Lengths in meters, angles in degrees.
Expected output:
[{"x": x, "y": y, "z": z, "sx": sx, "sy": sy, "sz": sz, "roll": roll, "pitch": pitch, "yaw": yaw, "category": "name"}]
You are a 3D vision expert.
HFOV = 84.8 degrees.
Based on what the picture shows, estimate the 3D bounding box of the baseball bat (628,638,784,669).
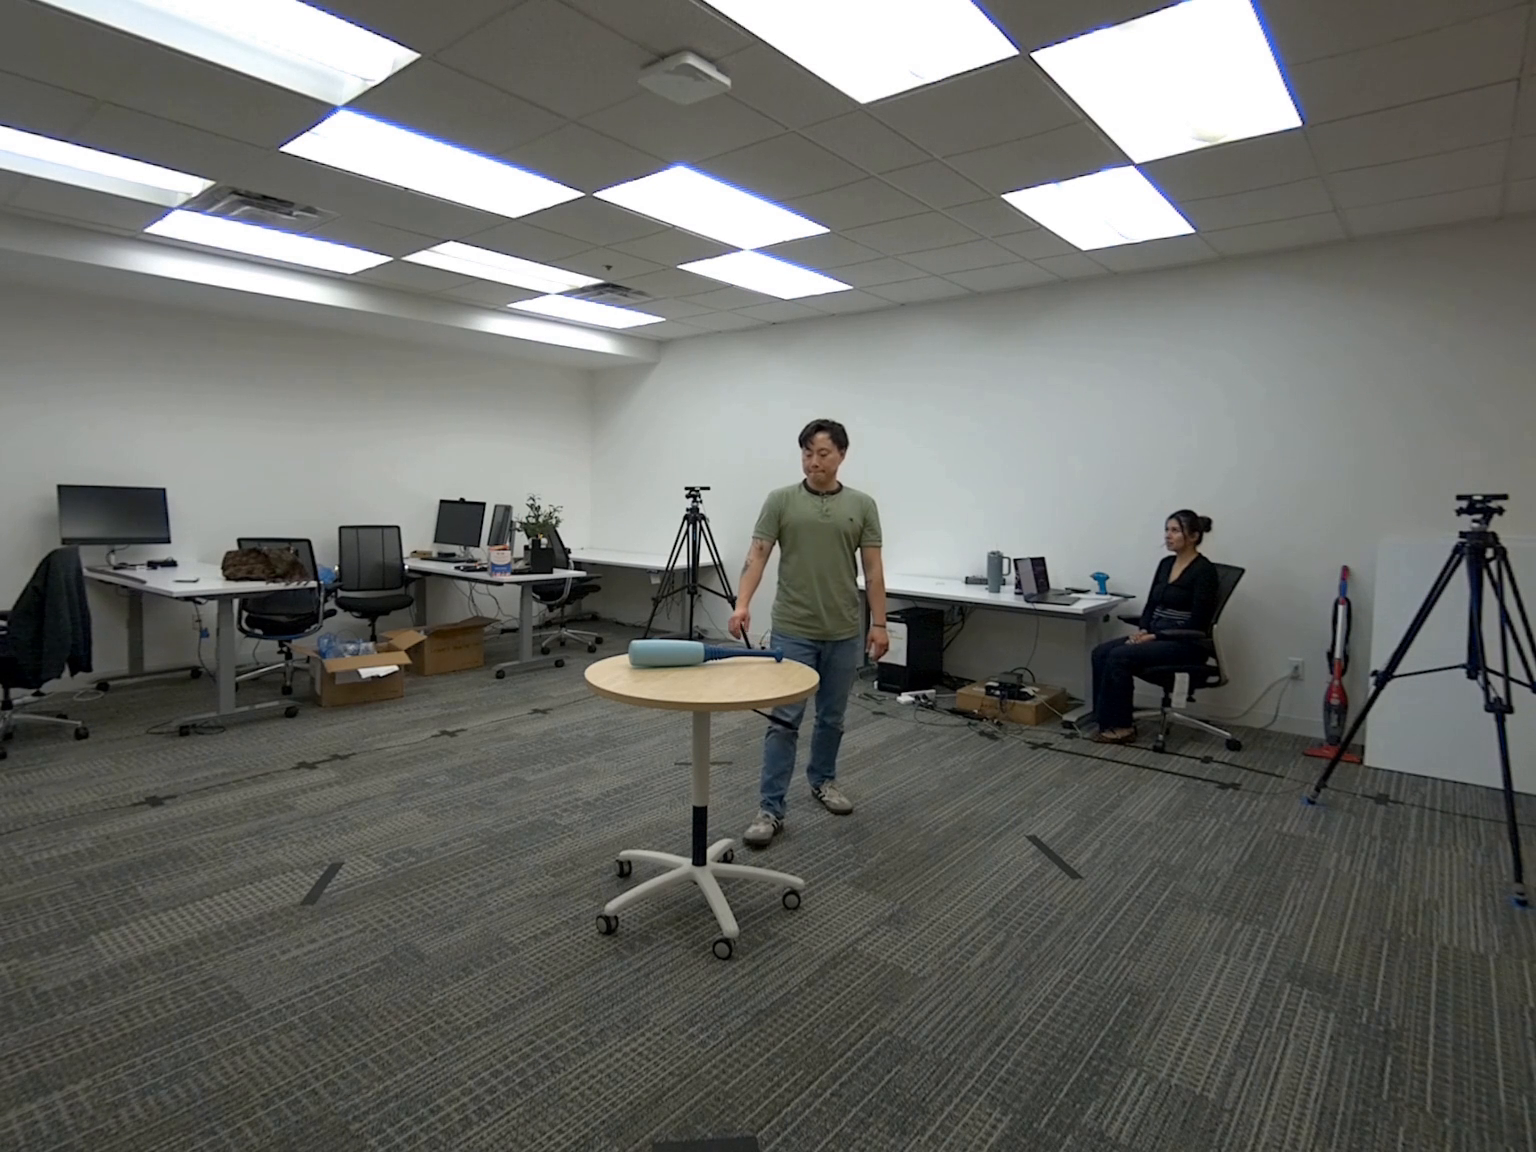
[{"x": -0.215, "y": 0.264, "z": 2.910, "sx": 0.534, "sy": 0.089, "sz": 0.091, "roll": 2, "pitch": 4, "yaw": -15, "category": "baseball bat"}]
